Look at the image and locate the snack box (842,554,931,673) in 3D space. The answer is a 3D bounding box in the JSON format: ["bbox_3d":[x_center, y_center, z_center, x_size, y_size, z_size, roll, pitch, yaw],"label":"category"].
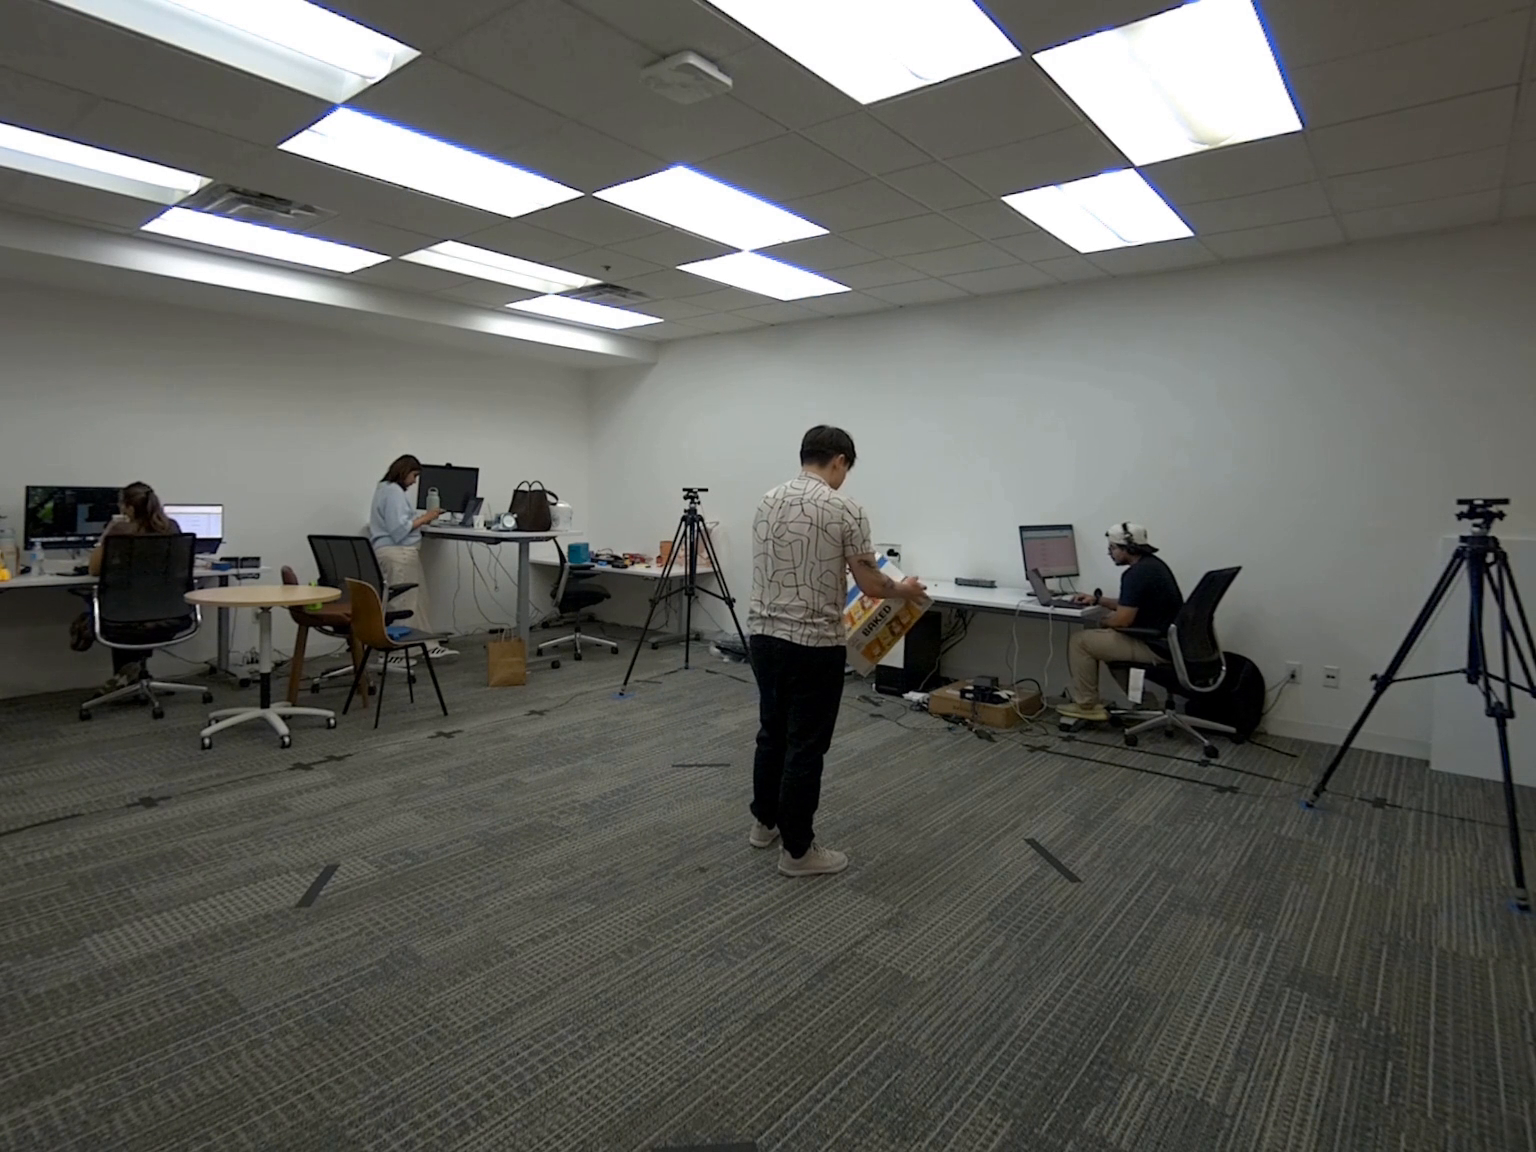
[{"bbox_3d":[0.392,0.123,3.437,0.198,0.405,0.353,40,5,-31],"label":"snack box"}]
